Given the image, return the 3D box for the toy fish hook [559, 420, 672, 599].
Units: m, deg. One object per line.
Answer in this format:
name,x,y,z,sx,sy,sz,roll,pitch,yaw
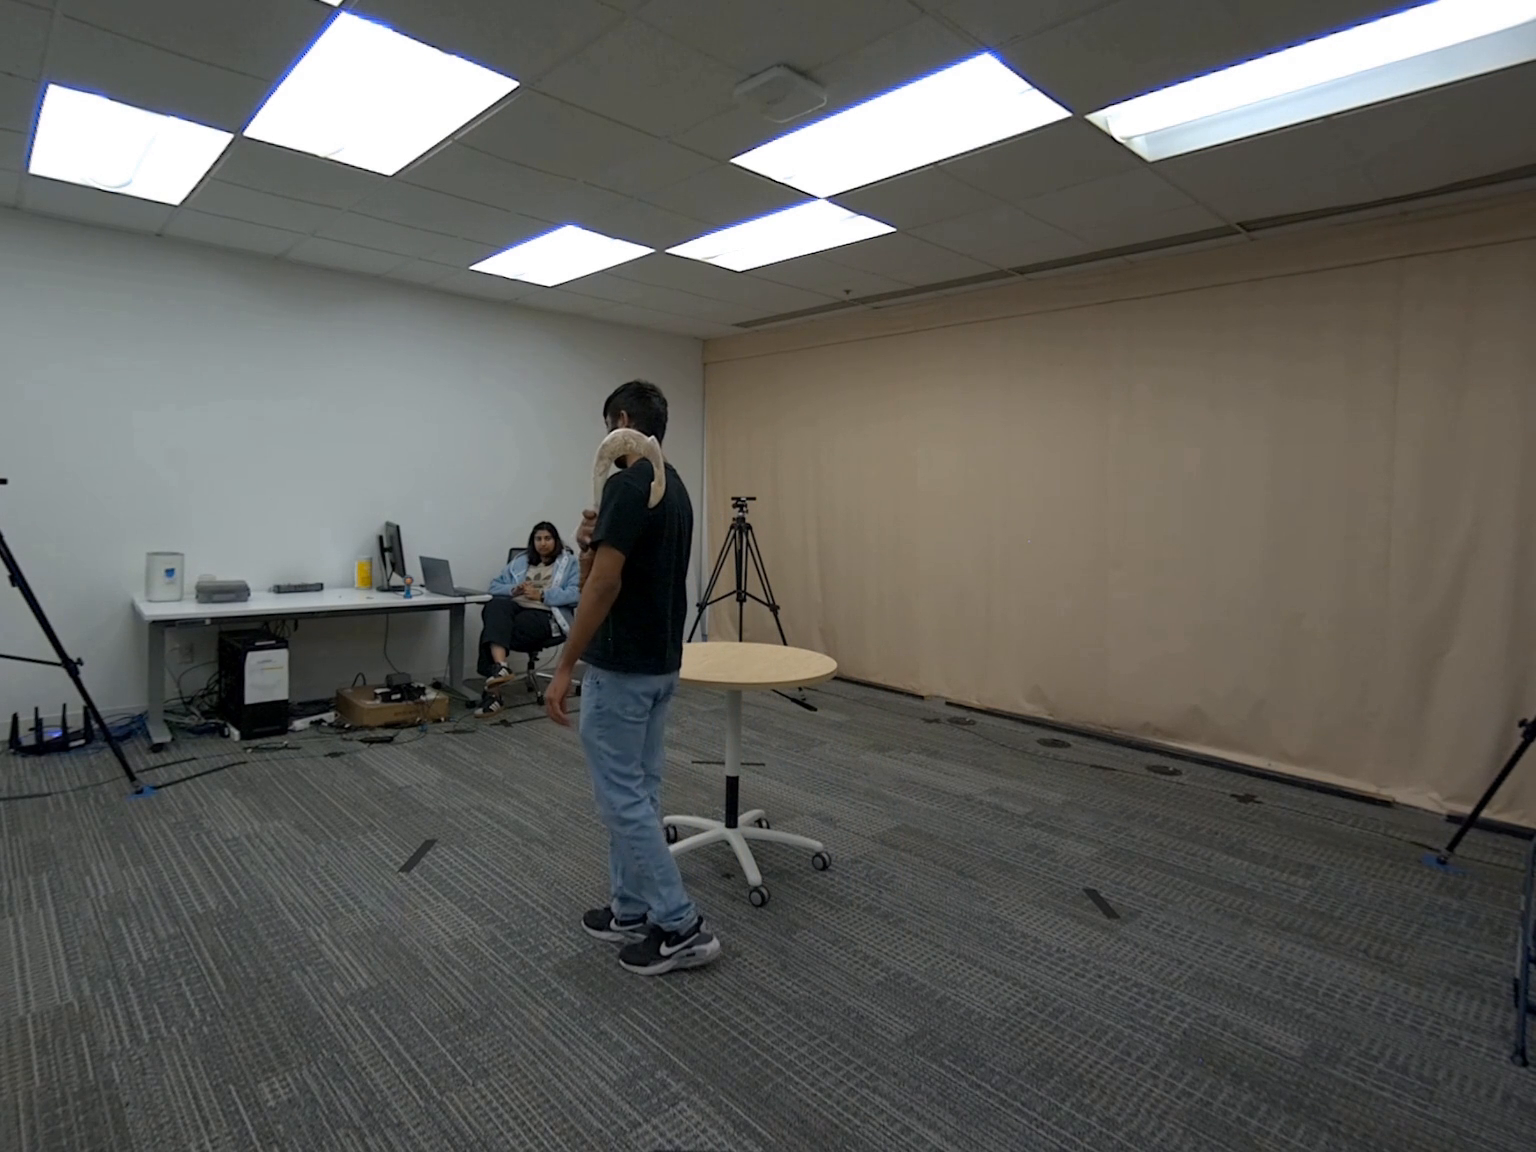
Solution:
toy fish hook,-0.437,-0.165,2.389,0.229,0.503,0.047,21,14,22
